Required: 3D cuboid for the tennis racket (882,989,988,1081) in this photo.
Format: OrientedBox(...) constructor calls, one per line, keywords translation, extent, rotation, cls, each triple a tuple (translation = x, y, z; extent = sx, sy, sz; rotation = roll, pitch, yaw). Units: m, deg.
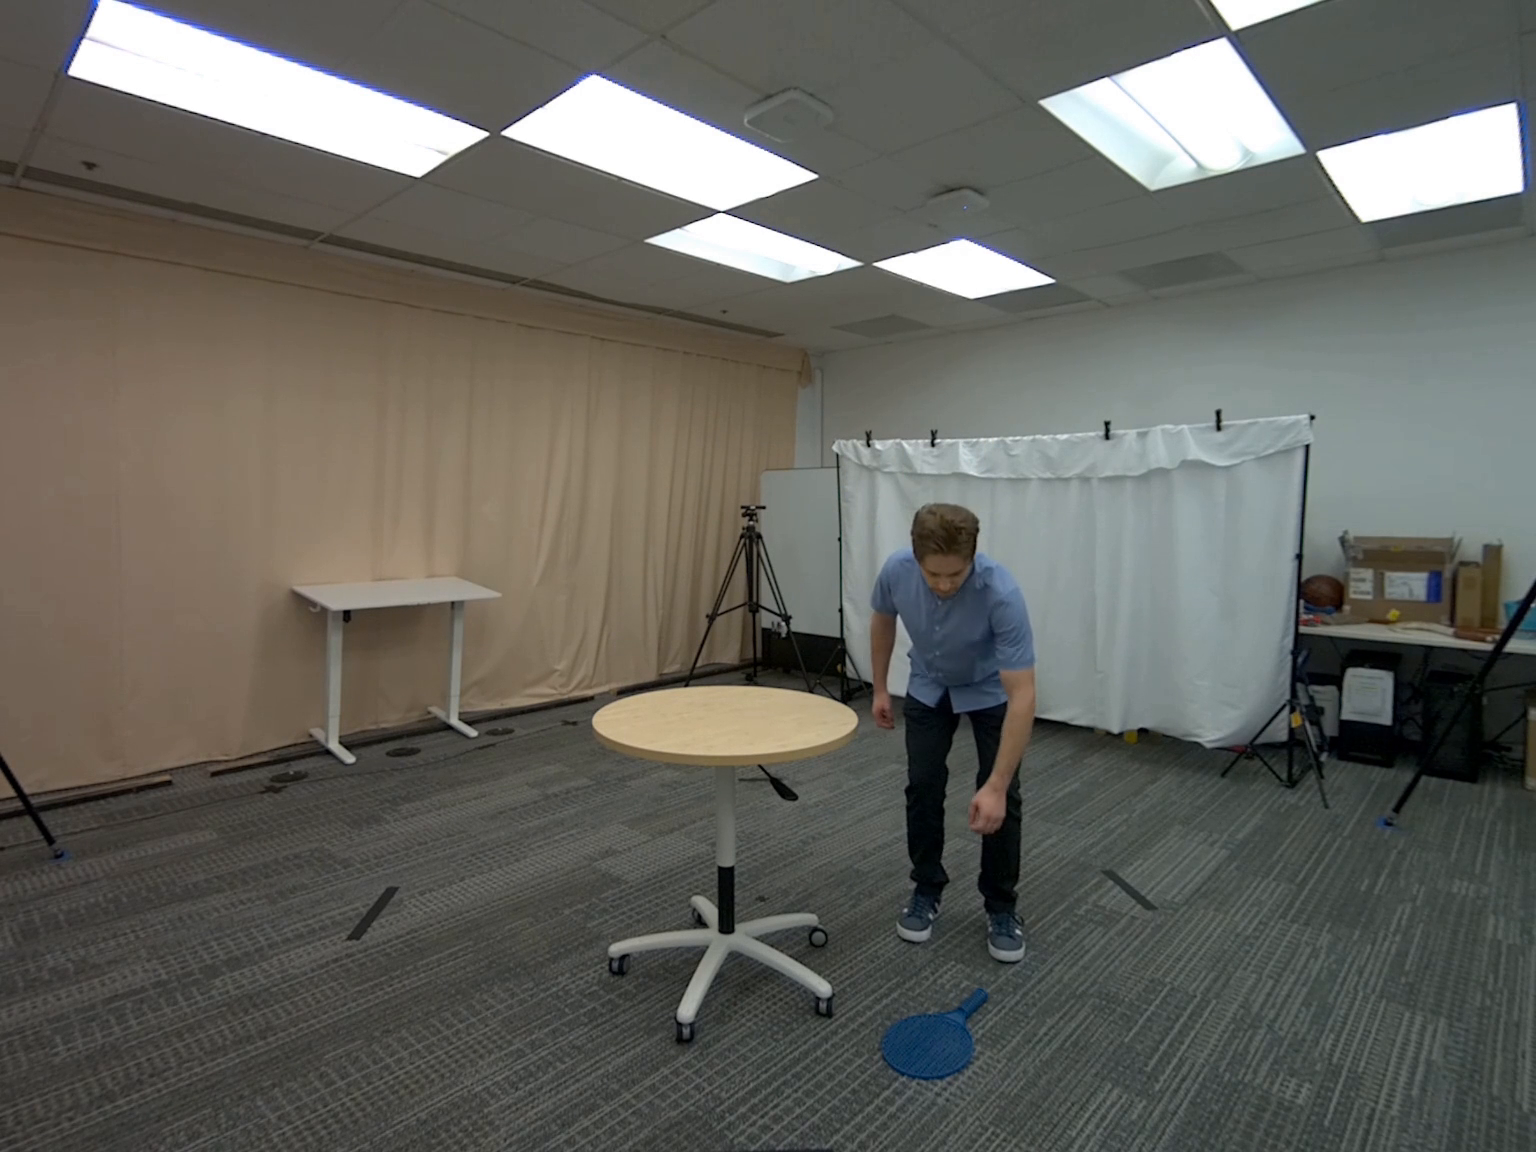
OrientedBox(translation=(0.473, 1.197, 2.215), extent=(0.221, 0.031, 0.420), rotation=(5, 9, 44), cls="tennis racket")
